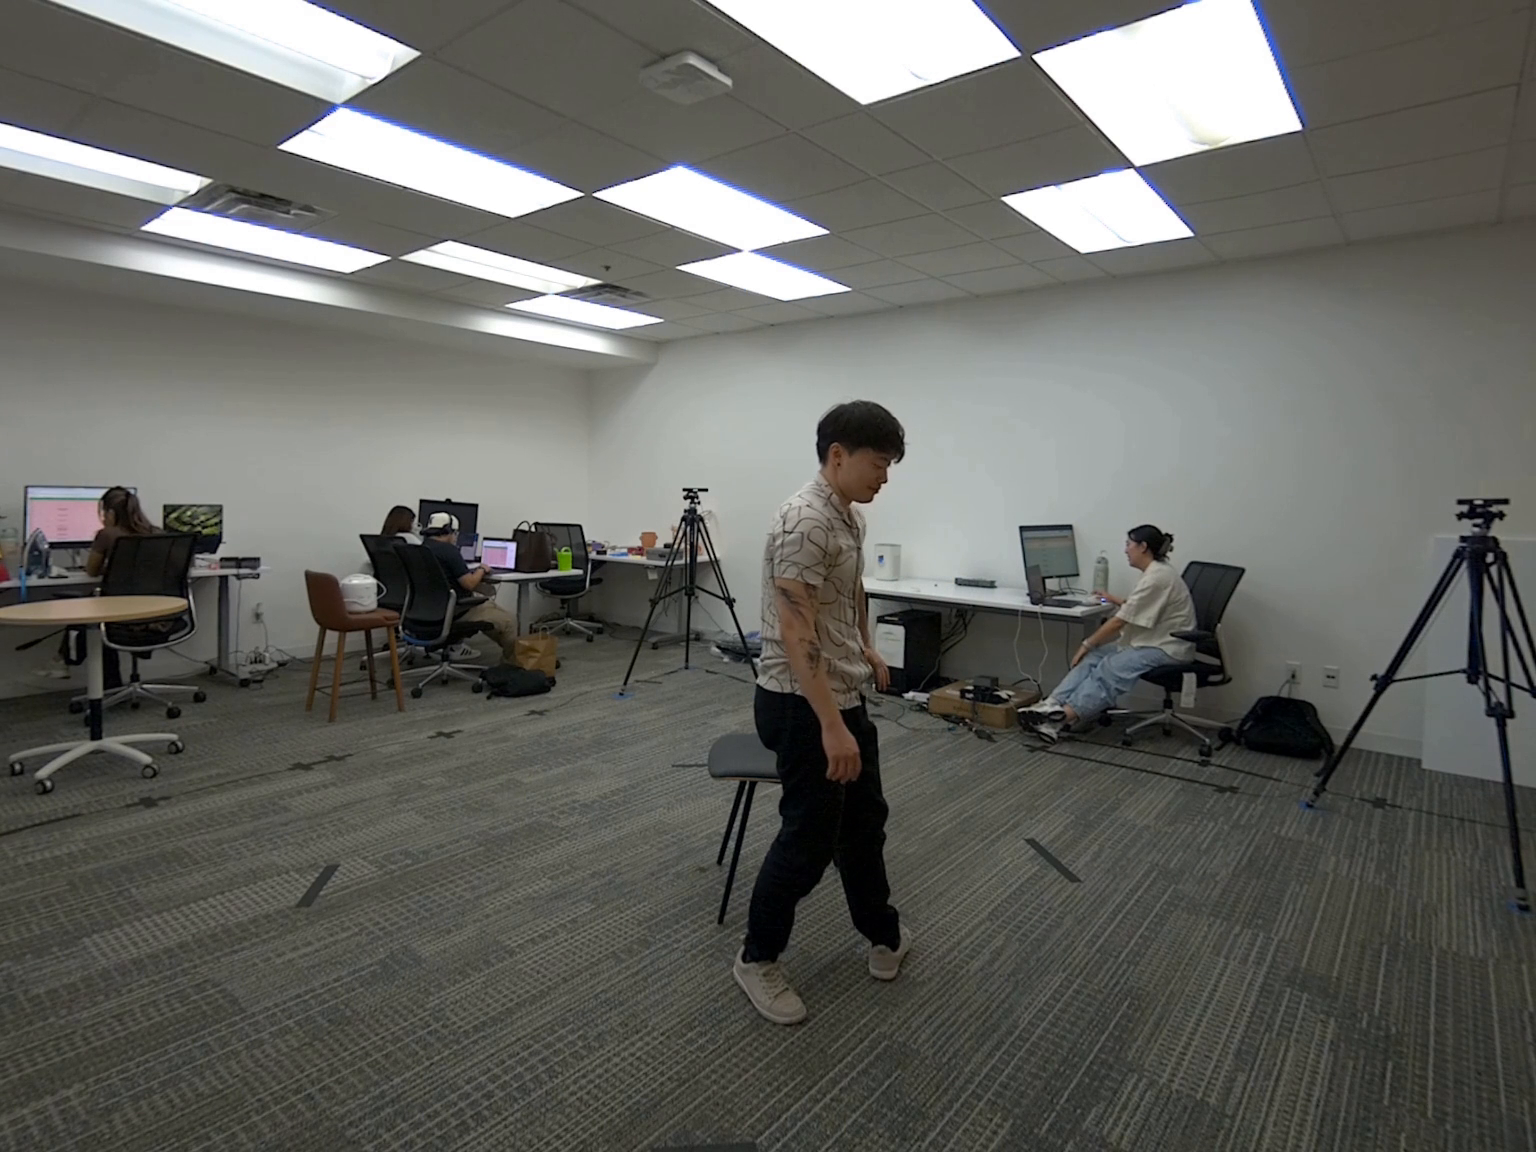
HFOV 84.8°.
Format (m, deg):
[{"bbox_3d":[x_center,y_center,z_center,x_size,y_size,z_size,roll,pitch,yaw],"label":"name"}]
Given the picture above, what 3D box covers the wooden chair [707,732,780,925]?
[{"bbox_3d":[0.048,0.667,2.910,0.522,0.875,0.481,6,3,-3],"label":"wooden chair"}]
